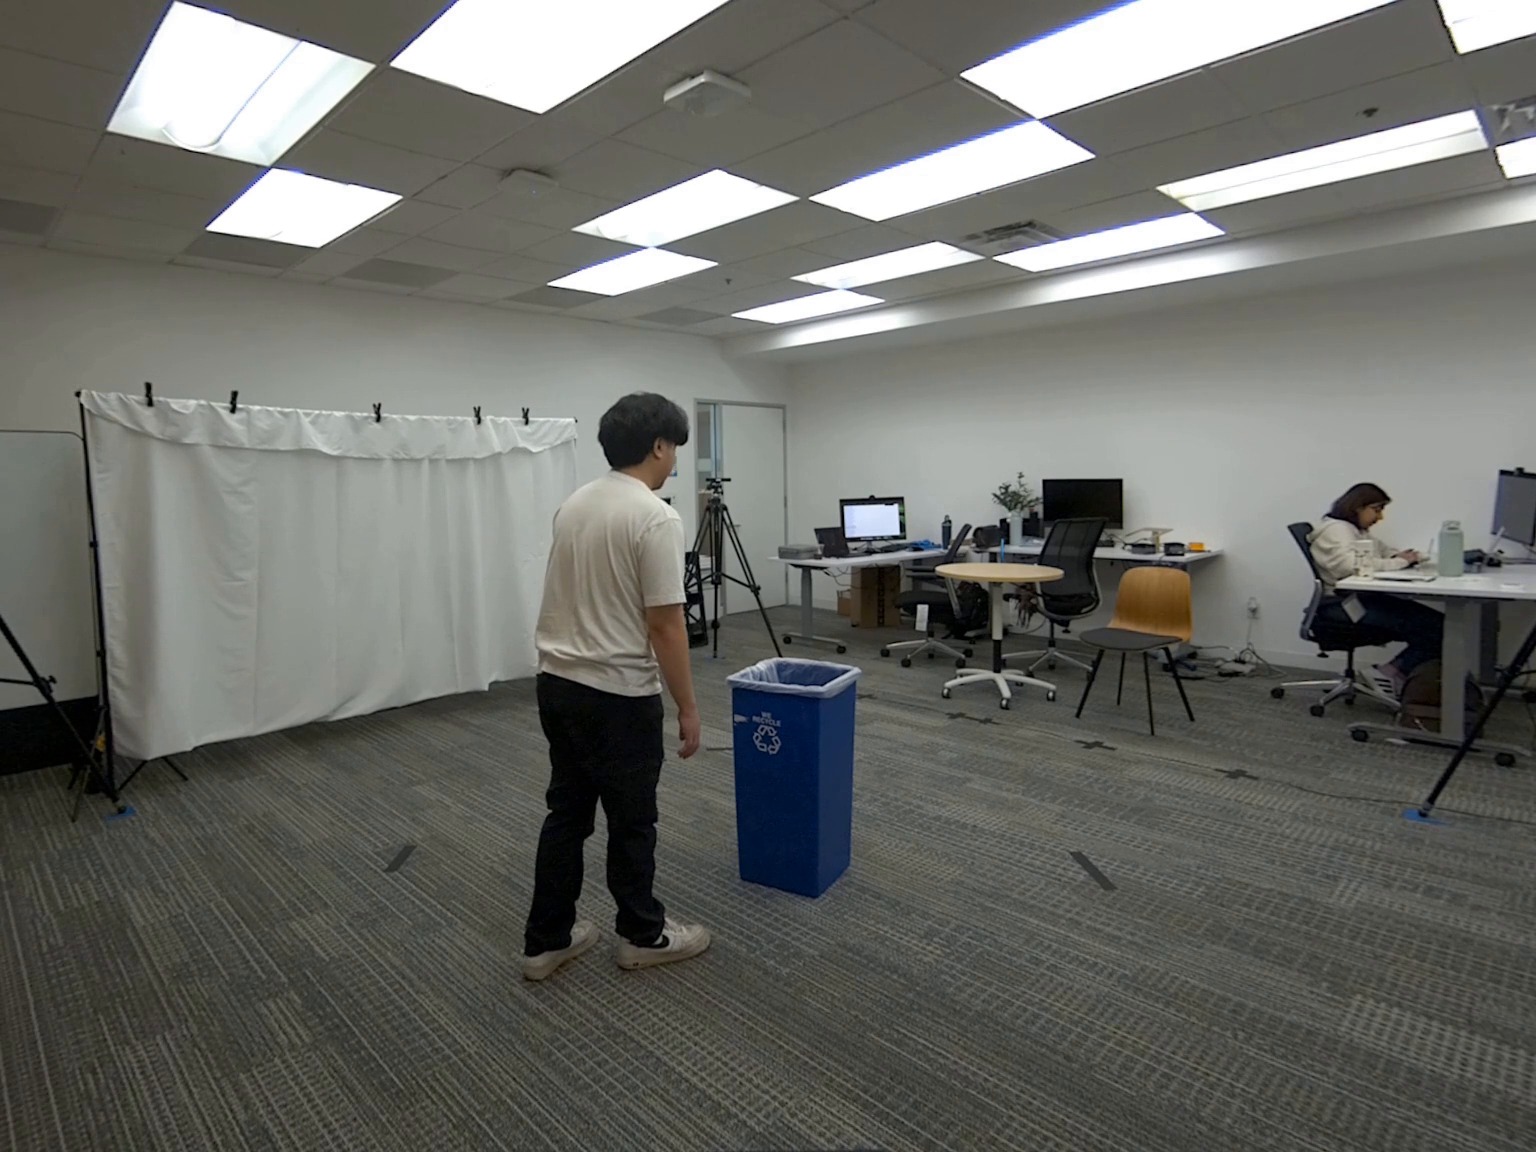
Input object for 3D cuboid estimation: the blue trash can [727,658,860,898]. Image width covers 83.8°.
[{"bbox_3d":[0.104,0.691,3.010,0.383,0.711,0.370,1,5,29],"label":"blue trash can"}]
